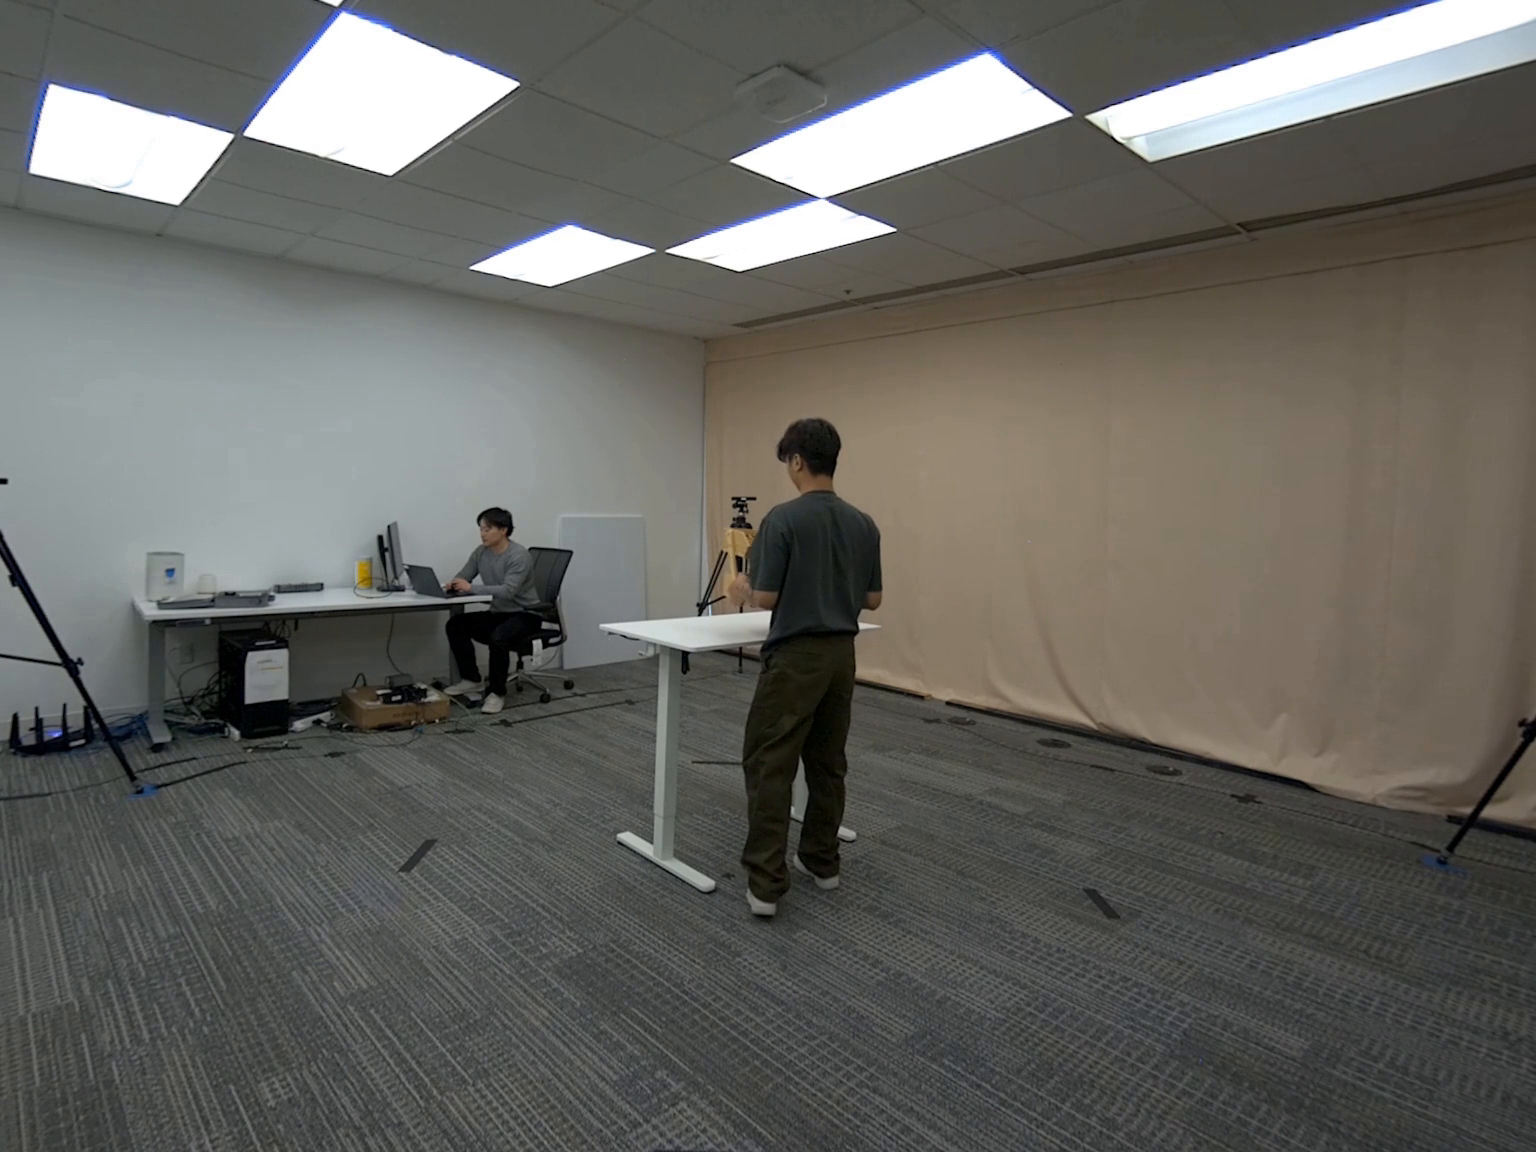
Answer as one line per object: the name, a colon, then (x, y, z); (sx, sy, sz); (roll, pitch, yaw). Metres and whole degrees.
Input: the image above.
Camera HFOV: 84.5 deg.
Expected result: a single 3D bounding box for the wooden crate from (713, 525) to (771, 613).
wooden crate: (0.015, -0.028, 3.227); (0.318, 0.272, 0.309); (4, 7, -28)
